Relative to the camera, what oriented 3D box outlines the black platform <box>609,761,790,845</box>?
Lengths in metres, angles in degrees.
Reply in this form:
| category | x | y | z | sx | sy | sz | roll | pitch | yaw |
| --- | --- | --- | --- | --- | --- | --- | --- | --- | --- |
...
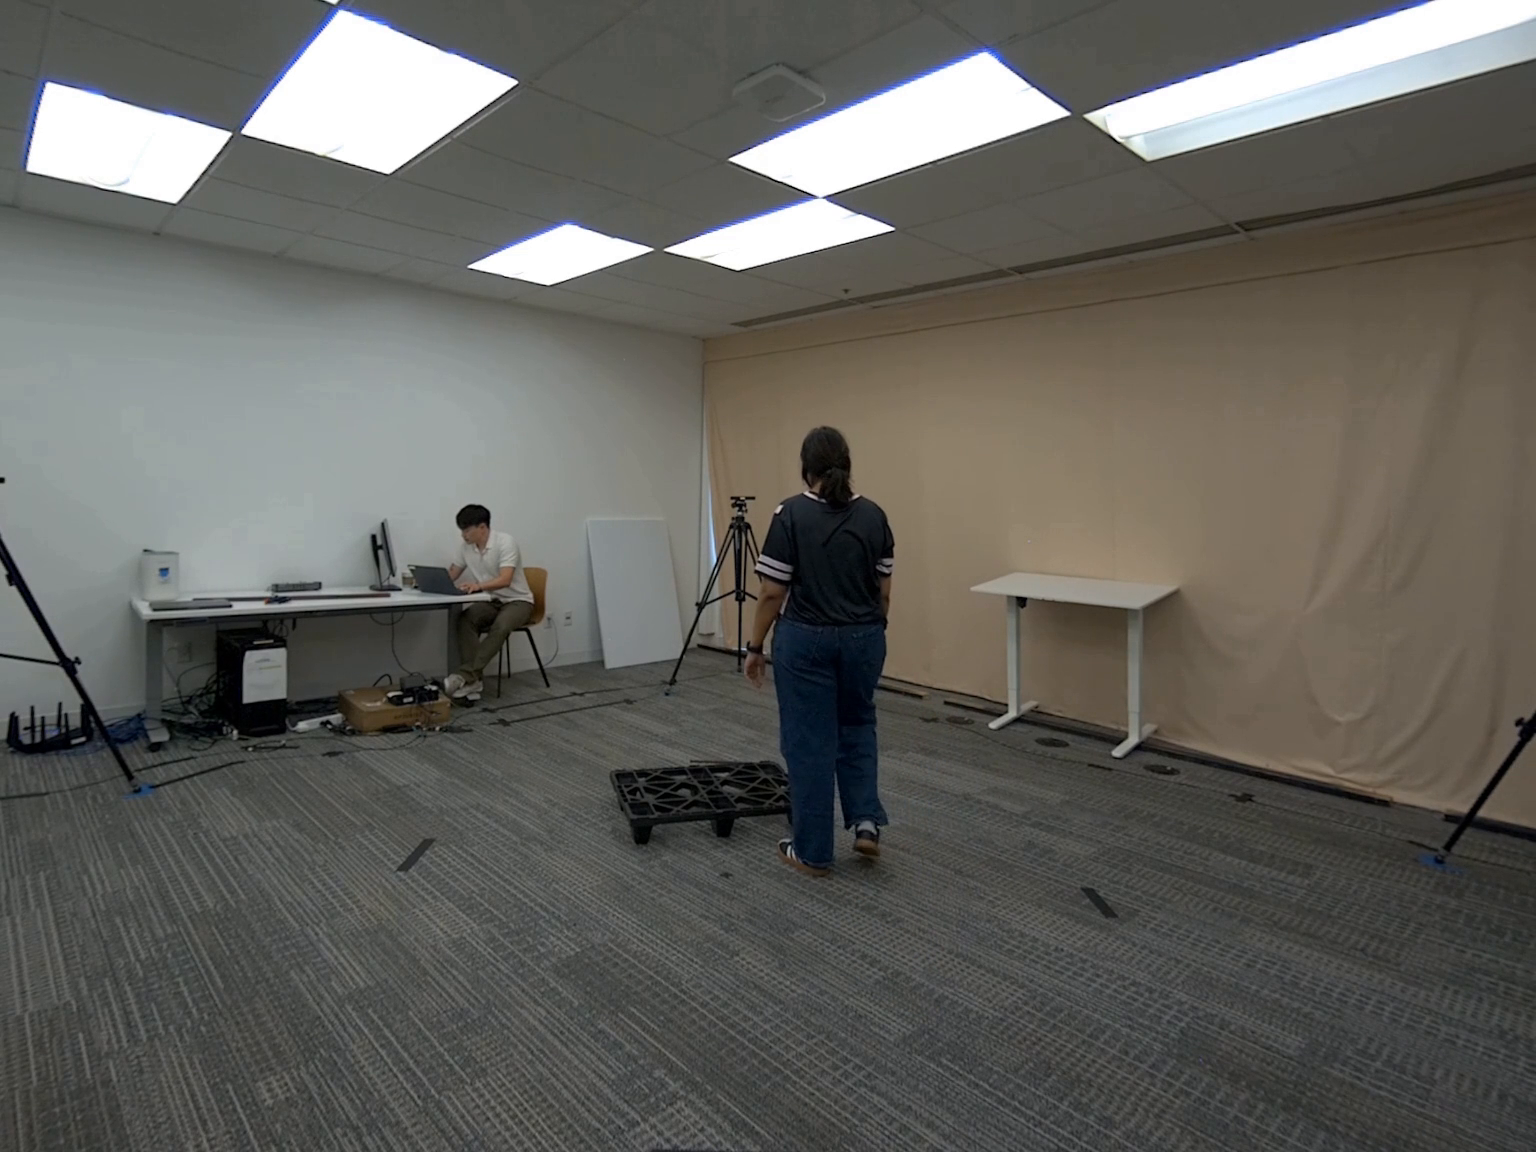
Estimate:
| category | x | y | z | sx | sy | sz | roll | pitch | yaw |
| --- | --- | --- | --- | --- | --- | --- | --- | --- | --- |
| black platform | -0.264 | 0.981 | 3.680 | 0.795 | 0.143 | 0.614 | 0 | 4 | -16 |
